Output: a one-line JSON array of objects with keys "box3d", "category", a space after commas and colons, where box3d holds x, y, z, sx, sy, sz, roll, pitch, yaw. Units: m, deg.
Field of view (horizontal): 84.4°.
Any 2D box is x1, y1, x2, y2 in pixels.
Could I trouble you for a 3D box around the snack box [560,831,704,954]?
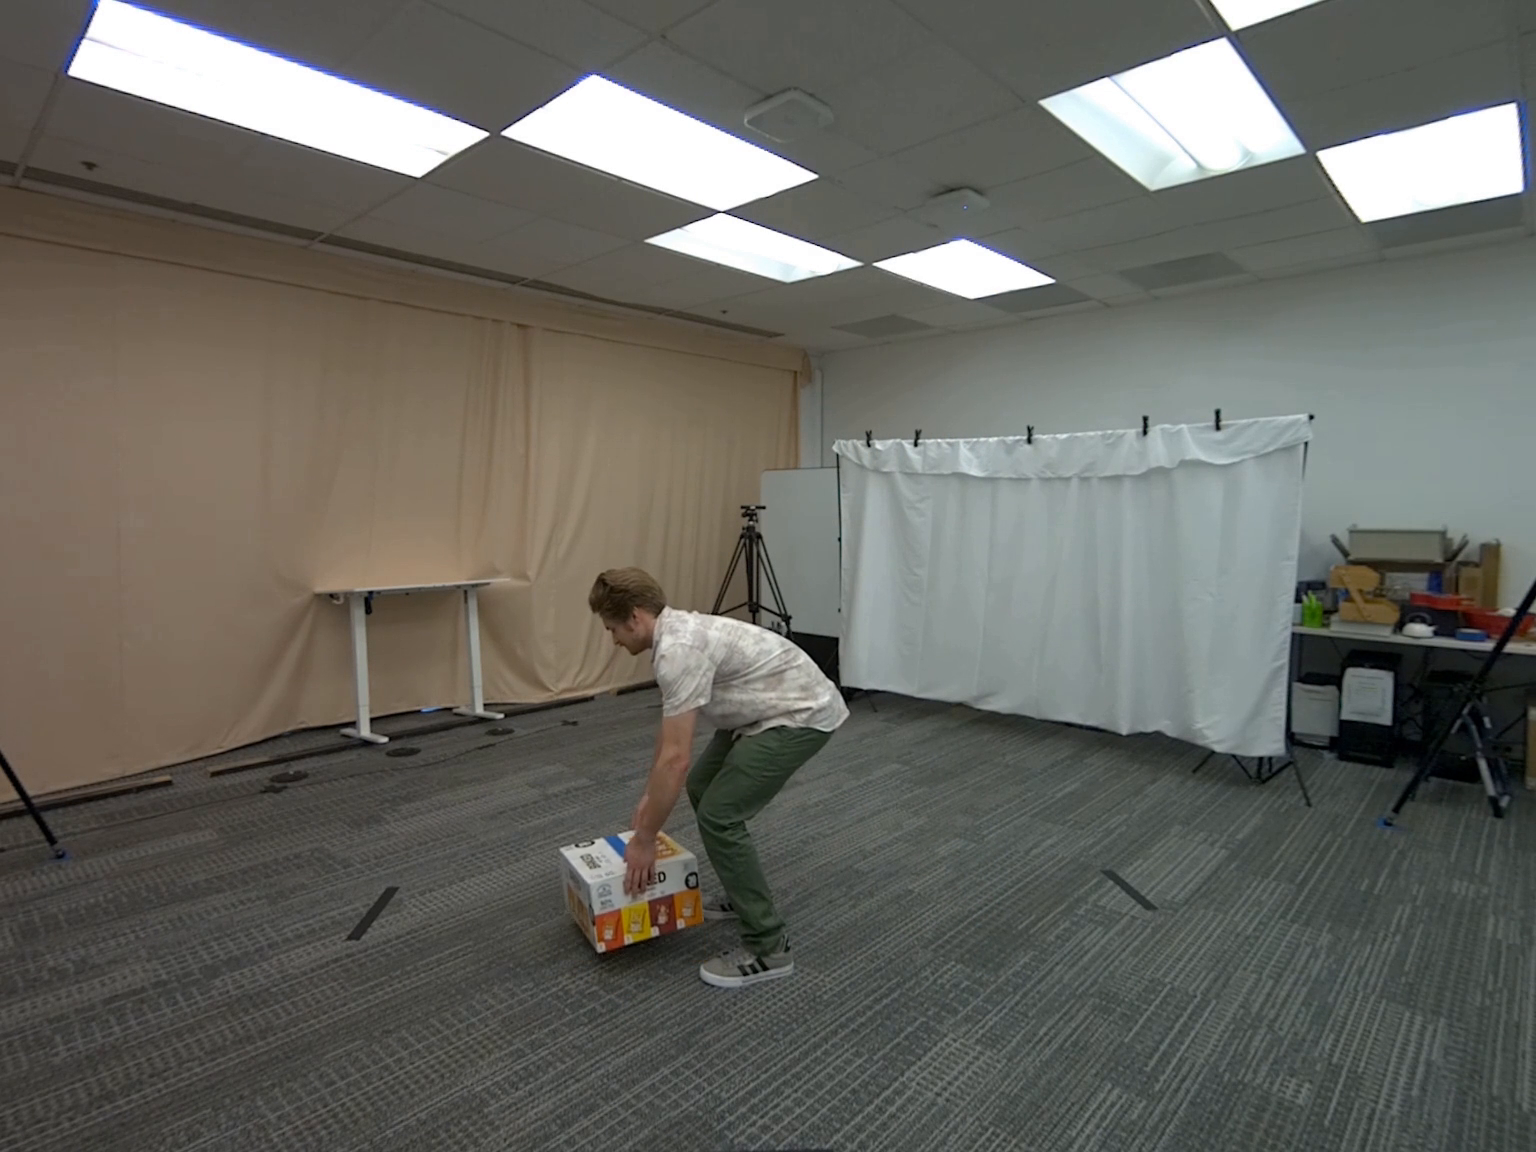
[{"box3d": [-0.453, 0.987, 2.706, 0.333, 0.206, 0.414, -6, 0, -25], "category": "snack box"}]
